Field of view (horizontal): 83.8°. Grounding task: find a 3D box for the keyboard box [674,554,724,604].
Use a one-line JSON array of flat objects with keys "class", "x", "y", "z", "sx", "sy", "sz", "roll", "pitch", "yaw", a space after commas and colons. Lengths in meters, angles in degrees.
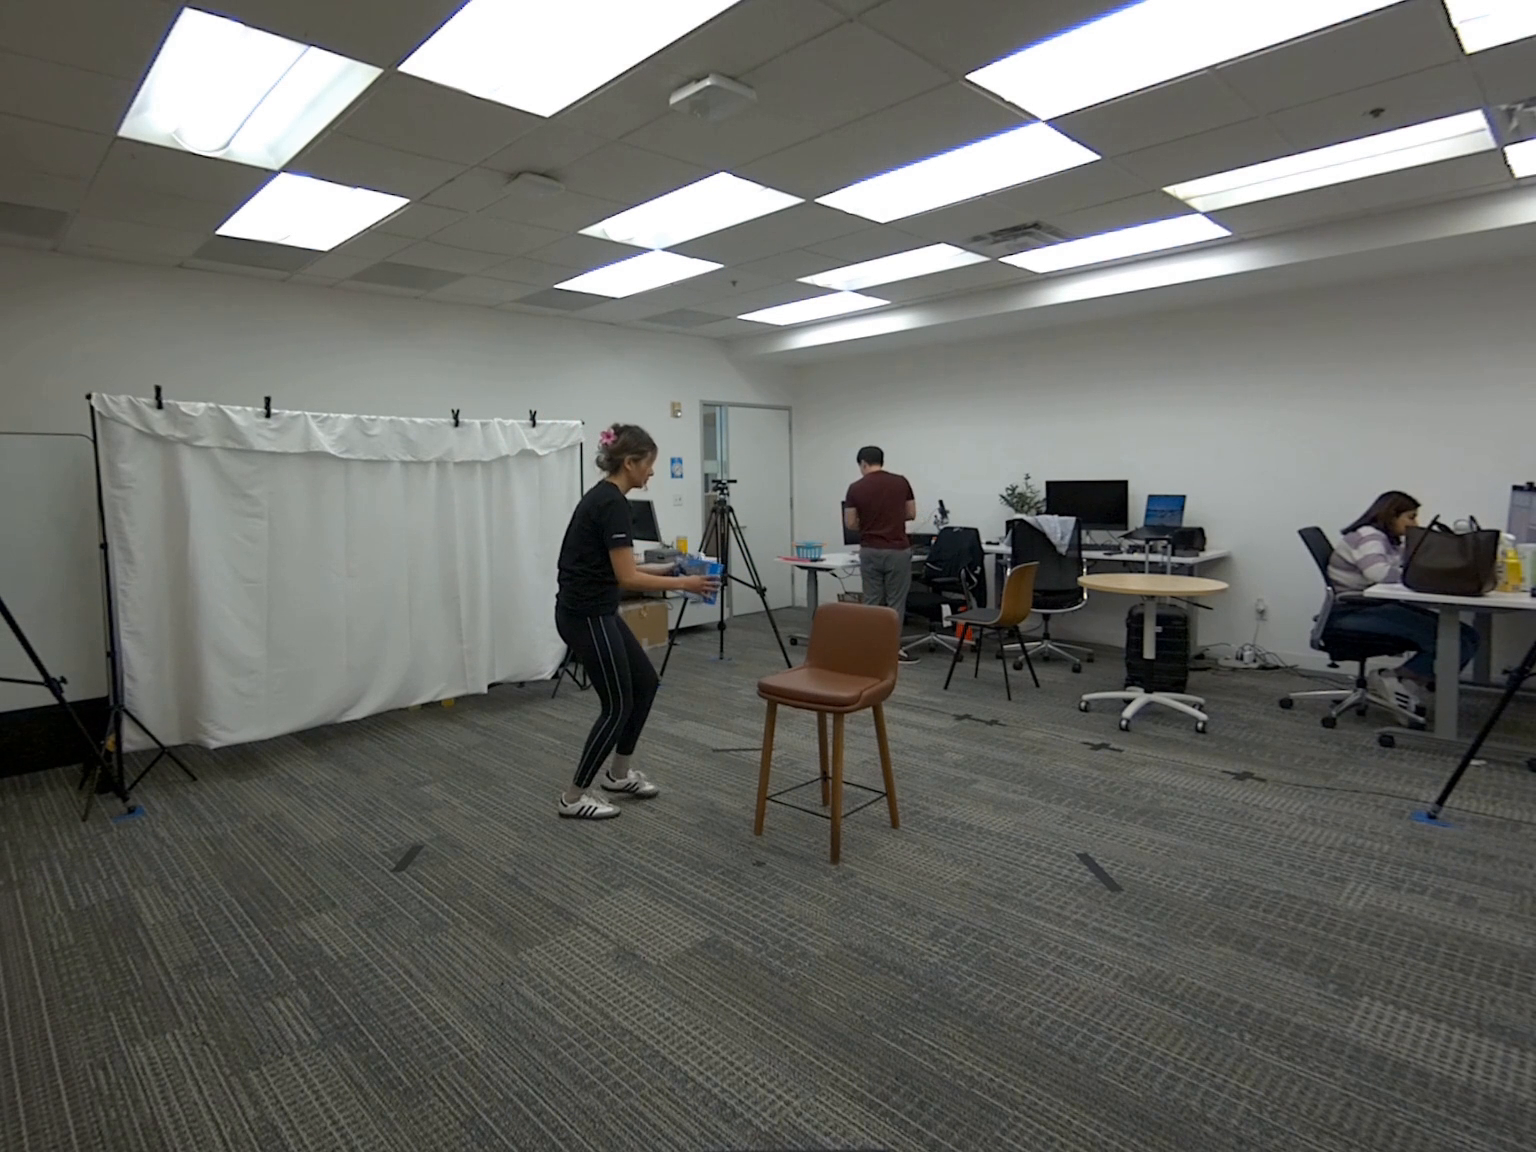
[{"class": "keyboard box", "x": -0.320, "y": 0.017, "z": 3.760, "sx": 0.057, "sy": 0.176, "sz": 0.448, "roll": 13, "pitch": 0, "yaw": -27}]
